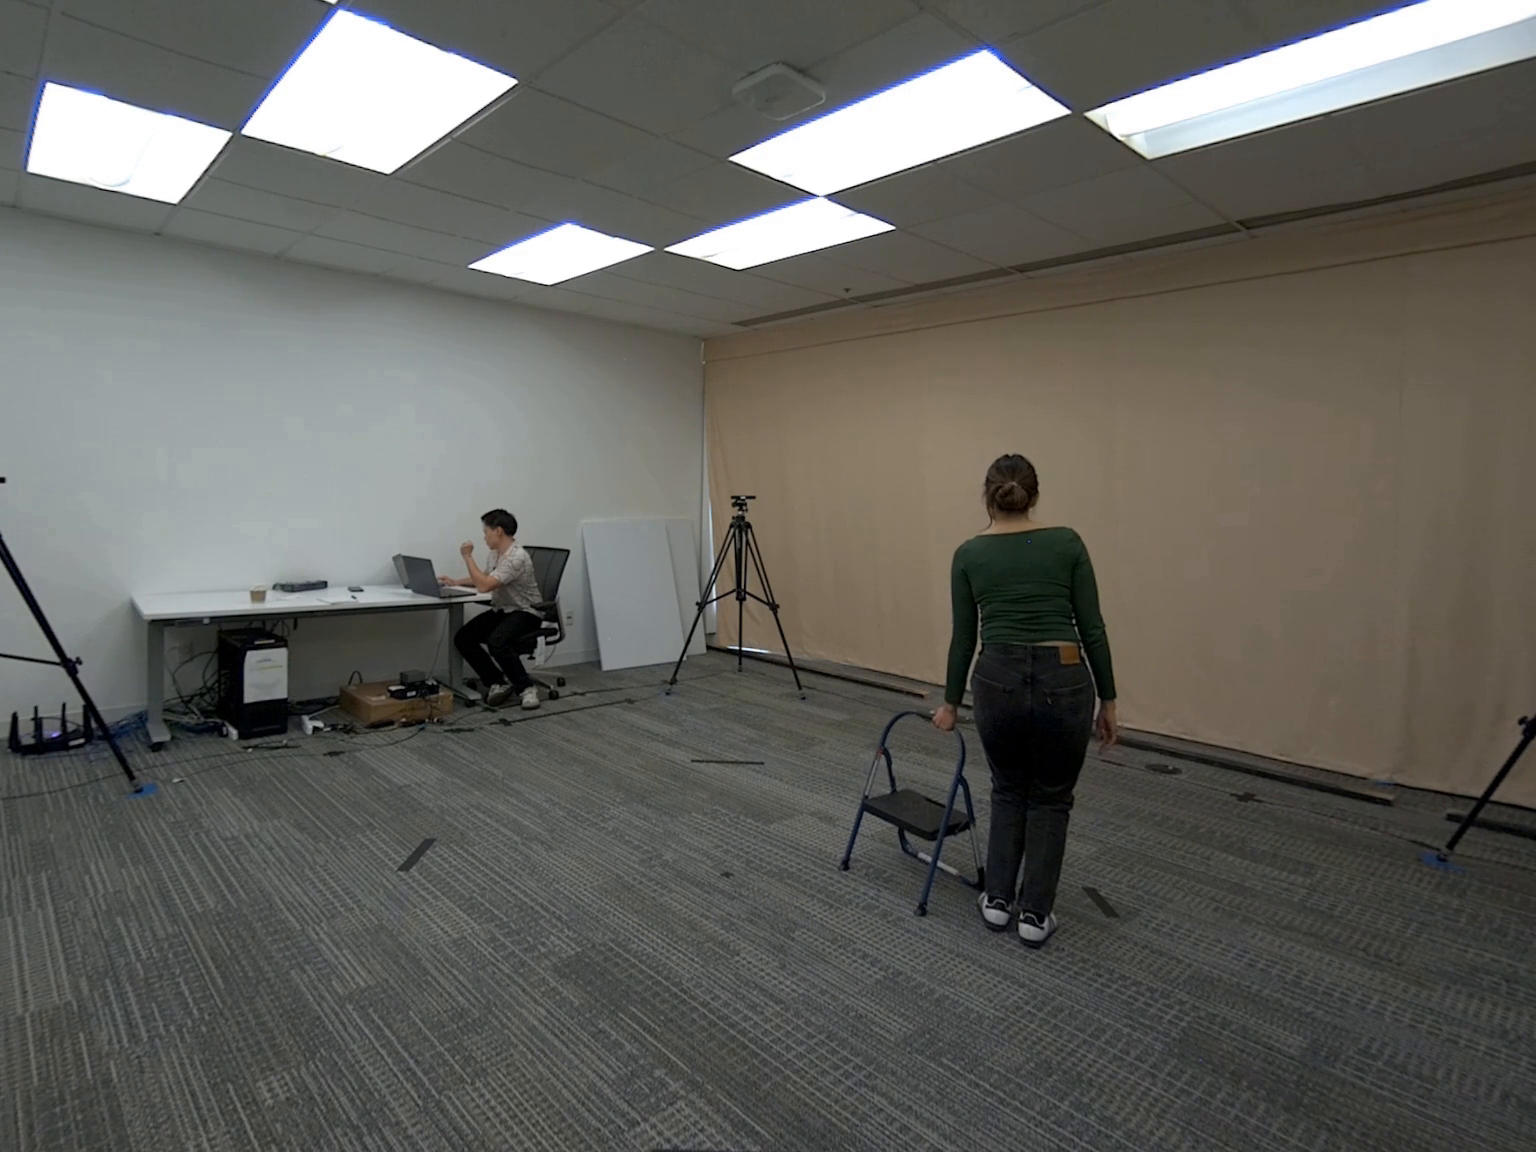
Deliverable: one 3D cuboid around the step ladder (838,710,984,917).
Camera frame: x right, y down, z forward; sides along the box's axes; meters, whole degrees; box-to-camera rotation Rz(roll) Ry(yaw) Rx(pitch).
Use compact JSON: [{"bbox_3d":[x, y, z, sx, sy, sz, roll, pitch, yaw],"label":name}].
[{"bbox_3d":[0.522,0.814,3.069,0.342,0.604,0.441,-3,5,-34],"label":"step ladder"}]
